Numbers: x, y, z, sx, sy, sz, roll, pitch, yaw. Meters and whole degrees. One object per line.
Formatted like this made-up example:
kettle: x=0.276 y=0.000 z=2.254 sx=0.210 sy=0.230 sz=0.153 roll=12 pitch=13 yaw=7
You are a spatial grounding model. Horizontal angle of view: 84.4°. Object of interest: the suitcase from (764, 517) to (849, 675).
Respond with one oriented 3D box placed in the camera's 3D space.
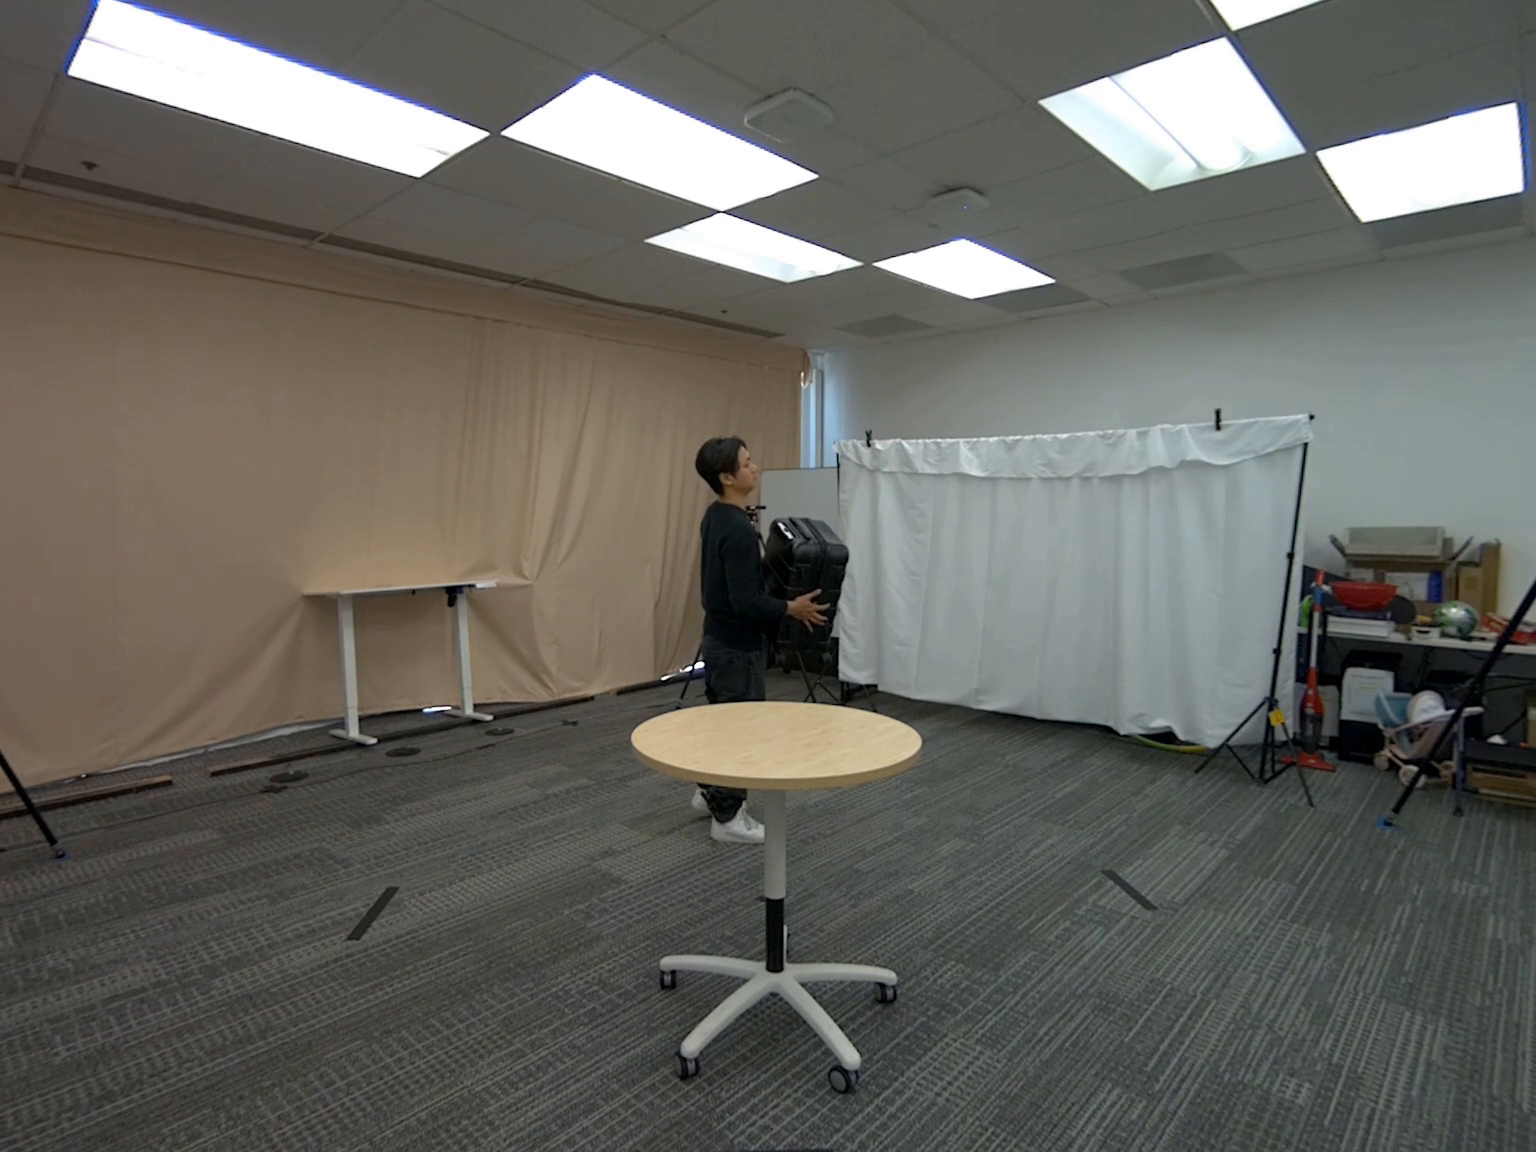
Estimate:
suitcase: x=0.136 y=0.044 z=3.531 sx=0.244 sy=0.544 sz=0.386 roll=2 pitch=23 yaw=-19
